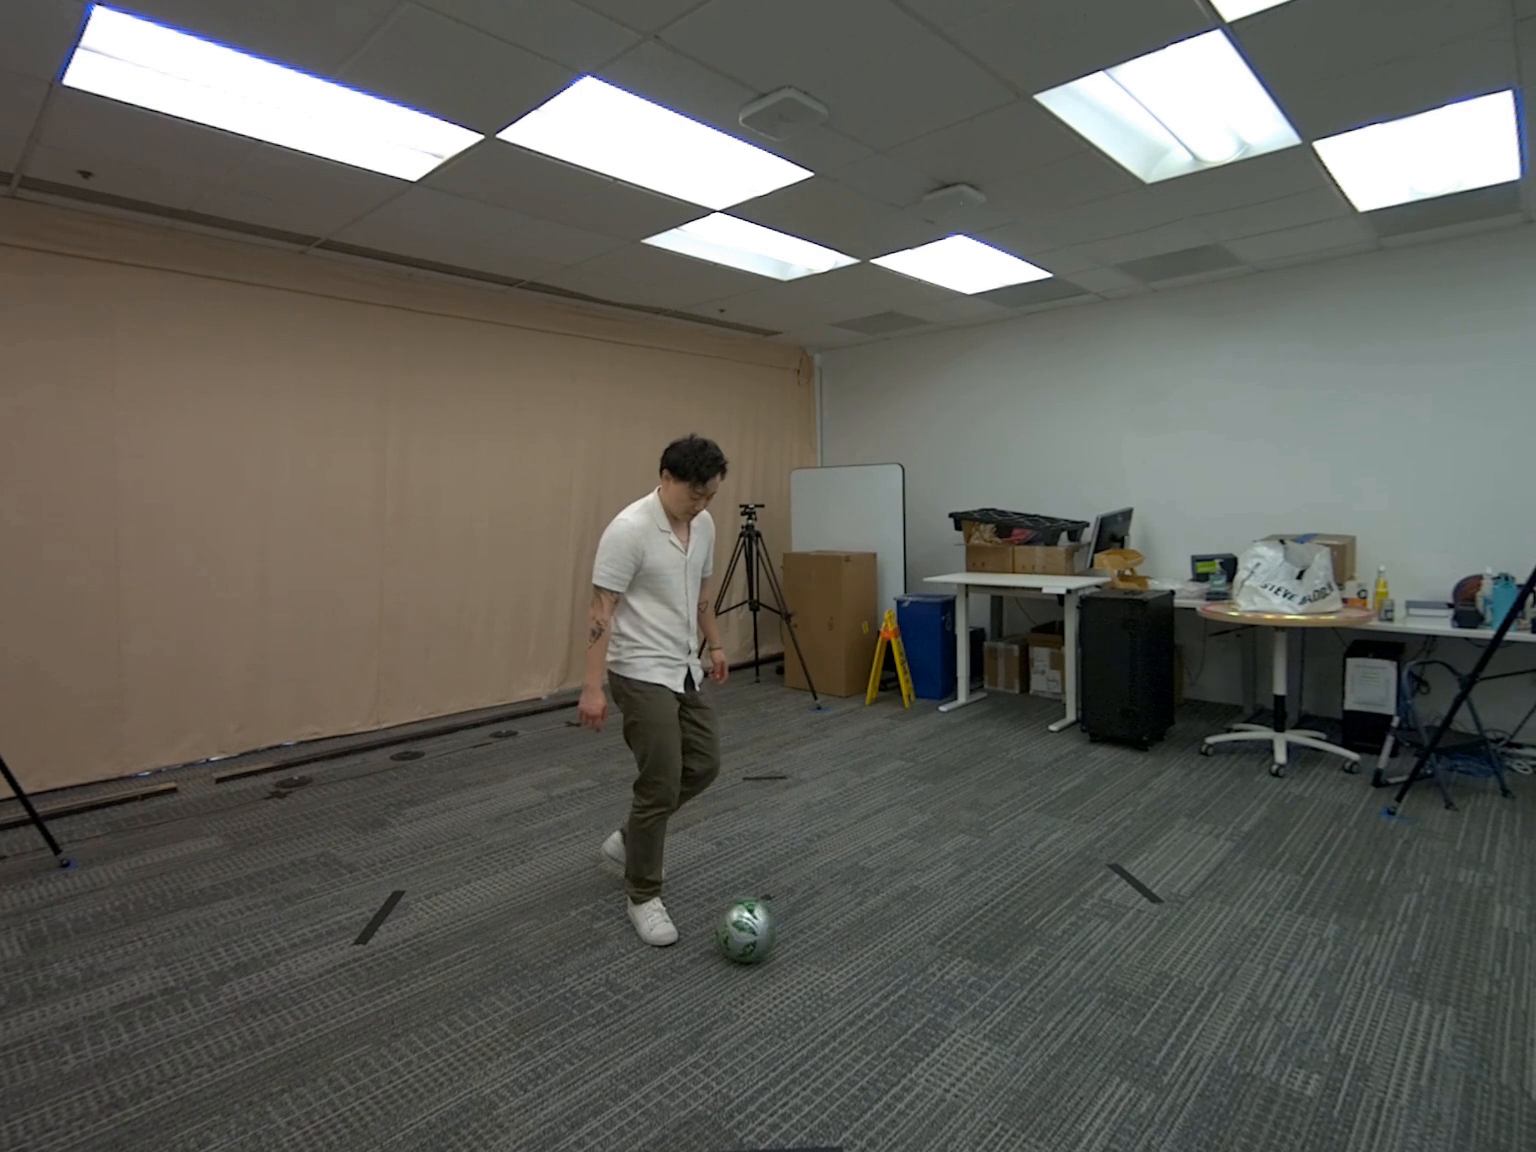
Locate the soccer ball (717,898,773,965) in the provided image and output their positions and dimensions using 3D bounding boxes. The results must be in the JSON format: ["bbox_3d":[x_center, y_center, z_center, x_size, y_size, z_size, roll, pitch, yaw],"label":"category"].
[{"bbox_3d":[-0.065,1.079,2.584,0.187,0.187,0.188,-1,4,-2],"label":"soccer ball"}]
